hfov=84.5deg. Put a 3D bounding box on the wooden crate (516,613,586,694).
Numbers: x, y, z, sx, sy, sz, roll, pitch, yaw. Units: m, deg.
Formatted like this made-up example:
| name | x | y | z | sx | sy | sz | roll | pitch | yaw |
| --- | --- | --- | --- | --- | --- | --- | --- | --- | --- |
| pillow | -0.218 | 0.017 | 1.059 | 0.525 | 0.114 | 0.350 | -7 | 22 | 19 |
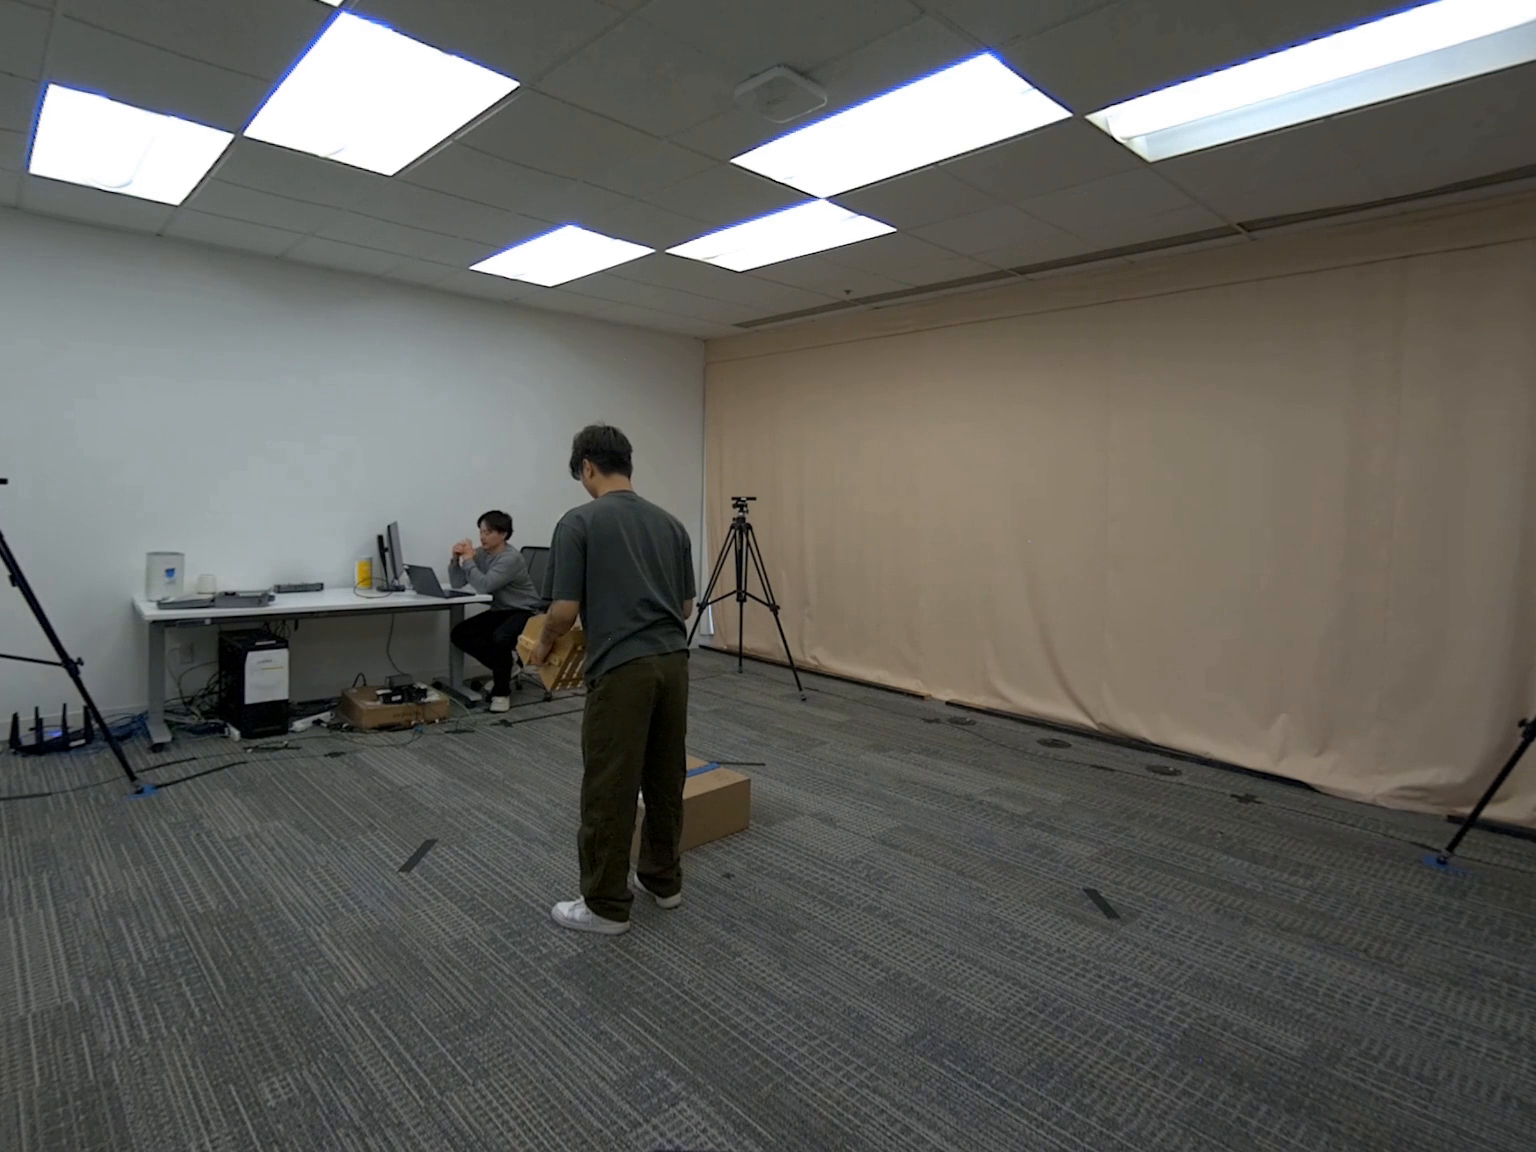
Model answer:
| name | x | y | z | sx | sy | sz | roll | pitch | yaw |
| --- | --- | --- | --- | --- | --- | --- | --- | --- | --- |
| wooden crate | -0.661 | 0.227 | 2.966 | 0.316 | 0.300 | 0.281 | 1 | 40 | -44 |
